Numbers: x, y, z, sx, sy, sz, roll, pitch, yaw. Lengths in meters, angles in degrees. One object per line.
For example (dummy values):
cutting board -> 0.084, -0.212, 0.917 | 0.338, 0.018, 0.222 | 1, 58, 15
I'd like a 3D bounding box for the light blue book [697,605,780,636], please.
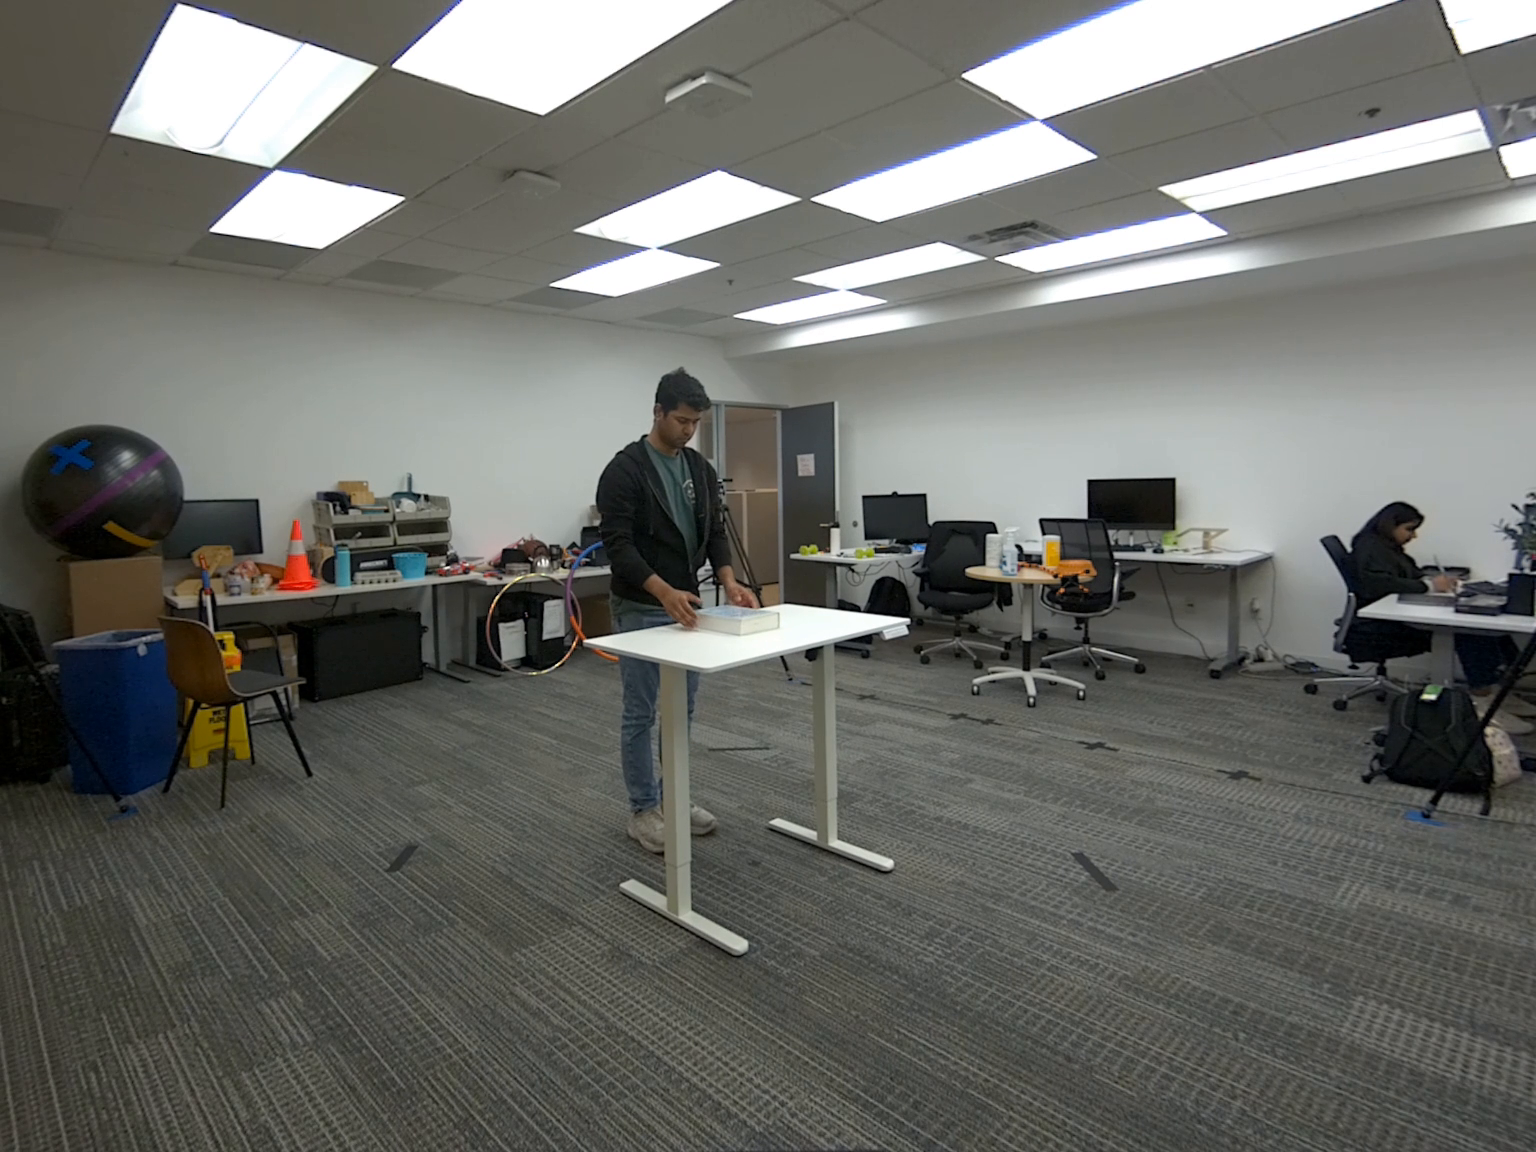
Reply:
light blue book -> -0.107, 0.156, 2.958 | 0.186, 0.059, 0.269 | -7, 8, -42
